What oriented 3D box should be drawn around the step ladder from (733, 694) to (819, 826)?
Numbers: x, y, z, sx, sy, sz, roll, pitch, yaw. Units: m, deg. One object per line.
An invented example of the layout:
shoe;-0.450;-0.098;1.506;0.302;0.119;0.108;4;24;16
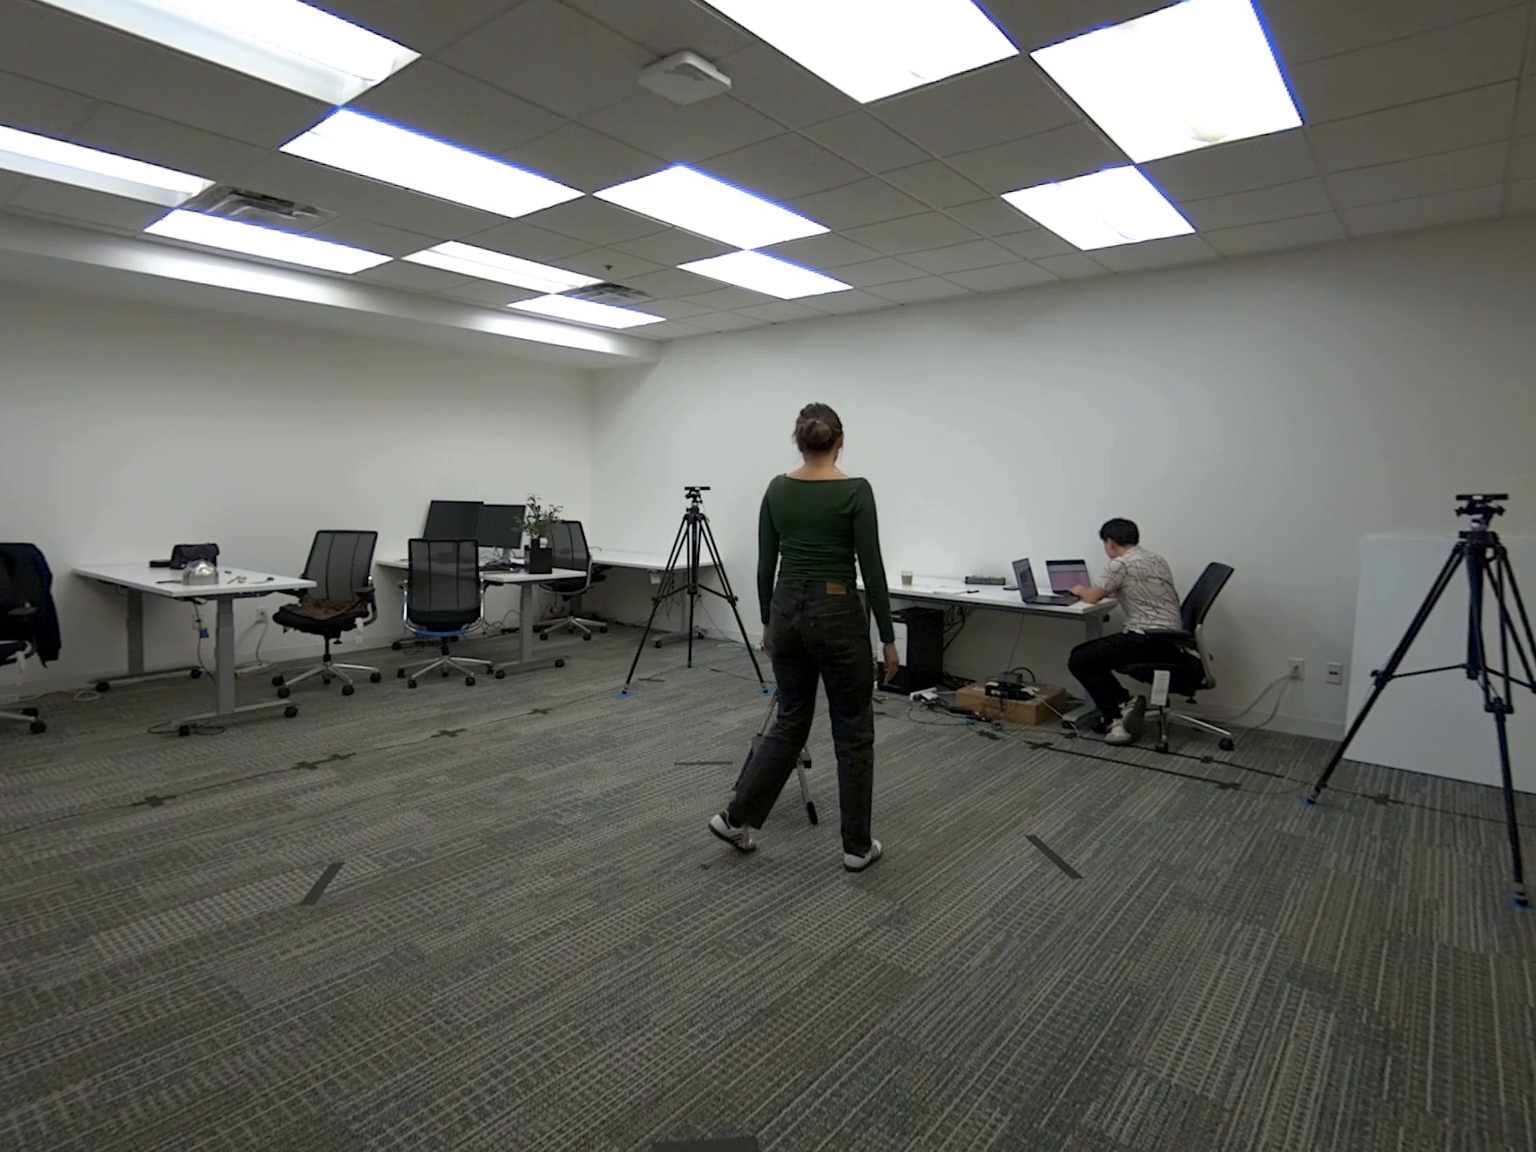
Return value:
step ladder;0.023;0.705;3.718;0.349;0.604;0.433;0;4;-3
